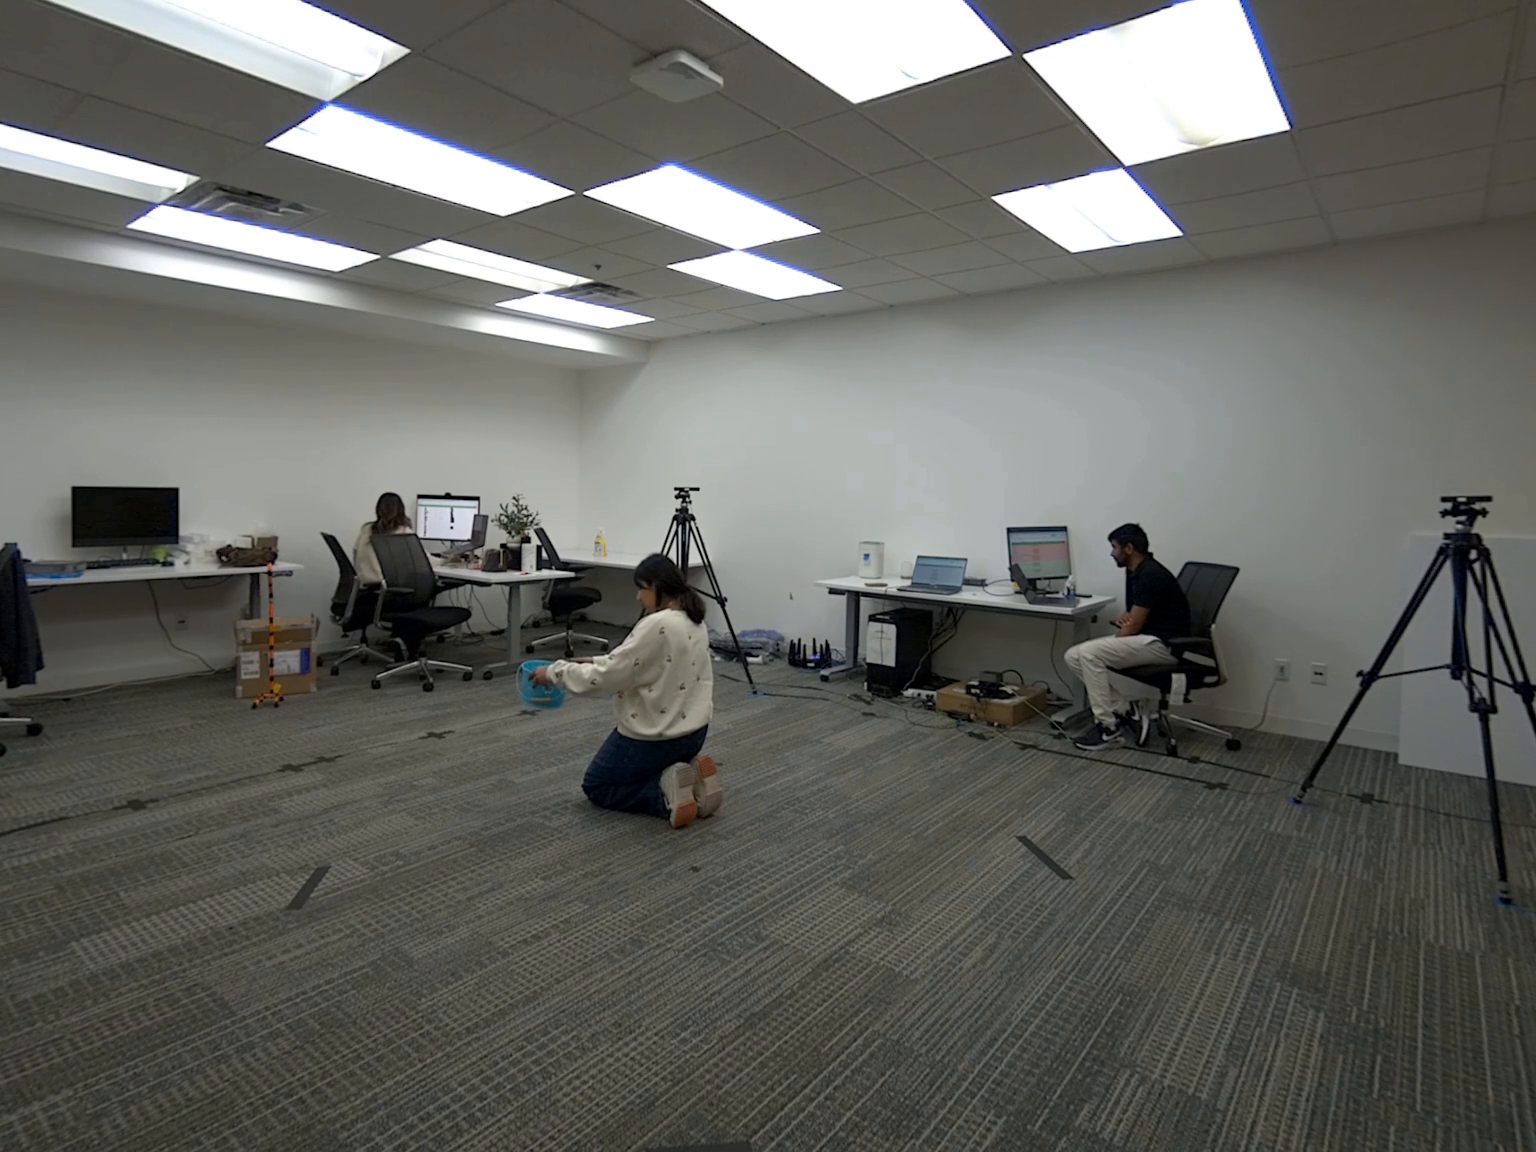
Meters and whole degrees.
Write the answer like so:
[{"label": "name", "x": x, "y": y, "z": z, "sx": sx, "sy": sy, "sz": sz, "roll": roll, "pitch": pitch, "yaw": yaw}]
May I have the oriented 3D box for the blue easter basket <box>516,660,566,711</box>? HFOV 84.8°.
[{"label": "blue easter basket", "x": -0.984, "y": 0.475, "z": 3.728, "sx": 0.243, "sy": 0.155, "sz": 0.245, "roll": 7, "pitch": 6, "yaw": -3}]
